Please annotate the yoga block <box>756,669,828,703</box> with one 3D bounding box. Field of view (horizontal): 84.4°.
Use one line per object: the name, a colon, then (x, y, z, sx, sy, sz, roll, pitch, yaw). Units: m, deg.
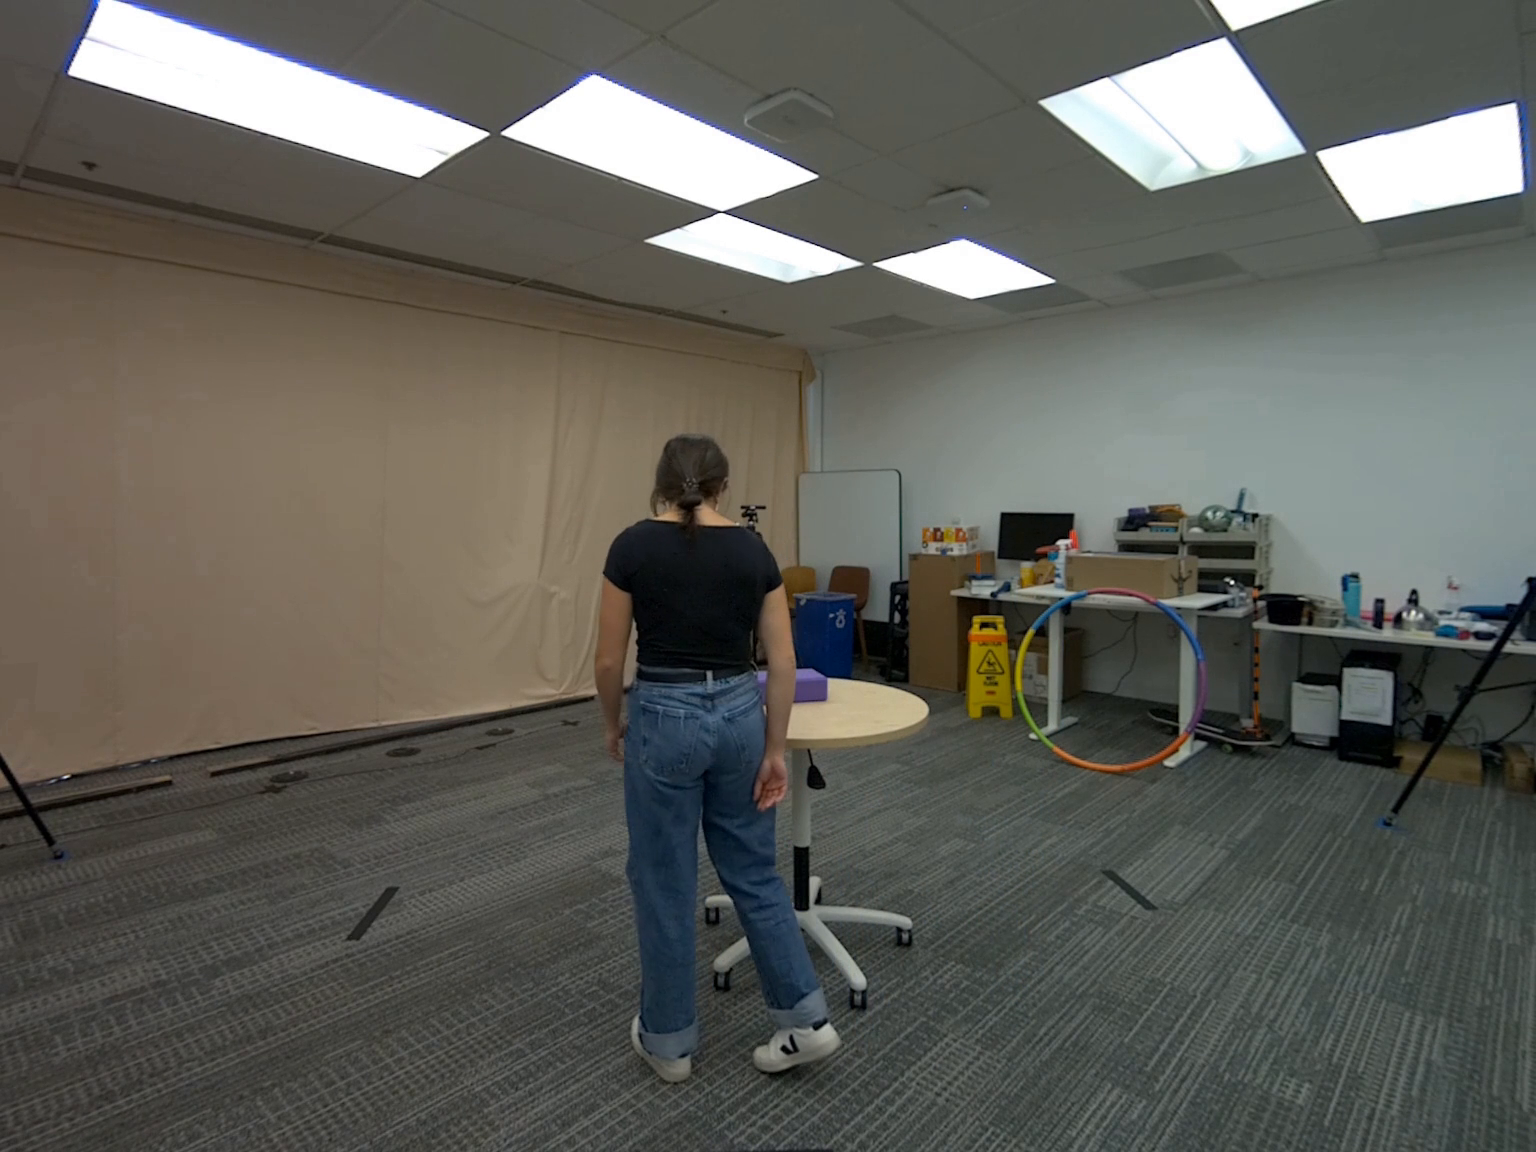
yoga block: (0.064, 0.351, 2.655, 0.226, 0.076, 0.151, -1, 5, -12)
